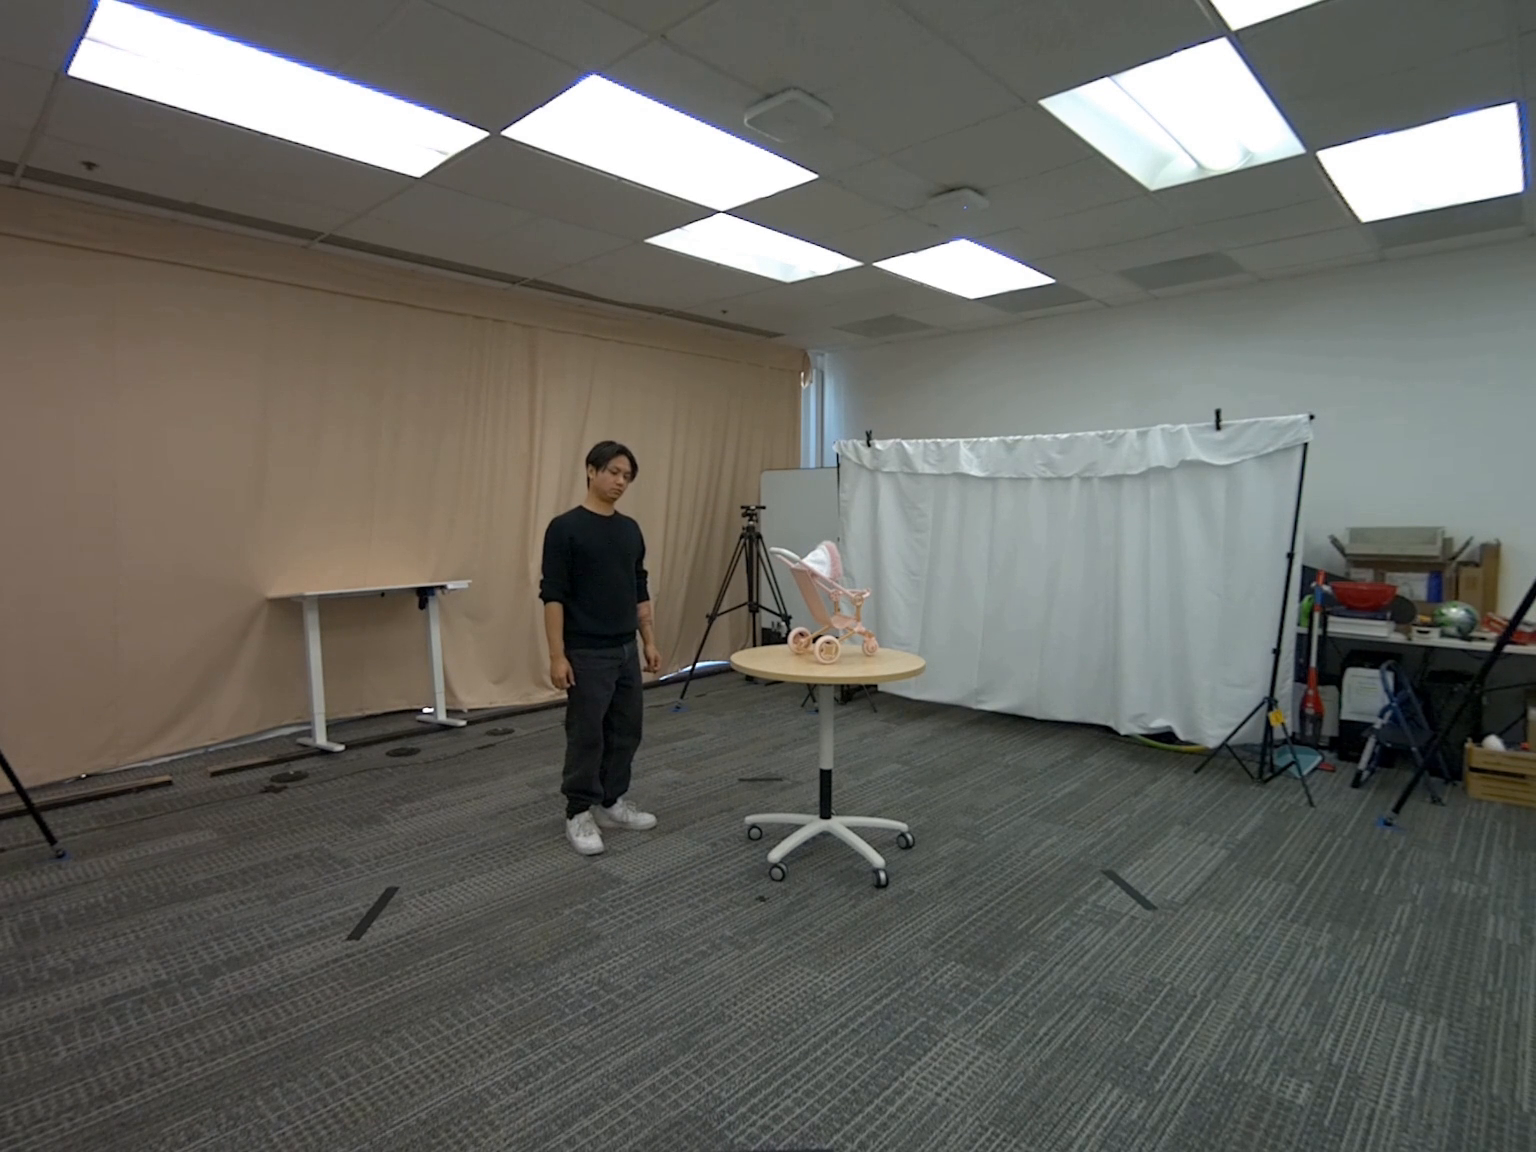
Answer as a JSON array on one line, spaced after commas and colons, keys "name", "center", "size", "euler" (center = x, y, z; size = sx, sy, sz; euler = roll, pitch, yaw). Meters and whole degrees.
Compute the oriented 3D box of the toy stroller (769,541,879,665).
[{"name": "toy stroller", "center": [0.252, 0.104, 3.348], "size": [0.337, 0.532, 0.286], "euler": [-16, 7, -14]}]
